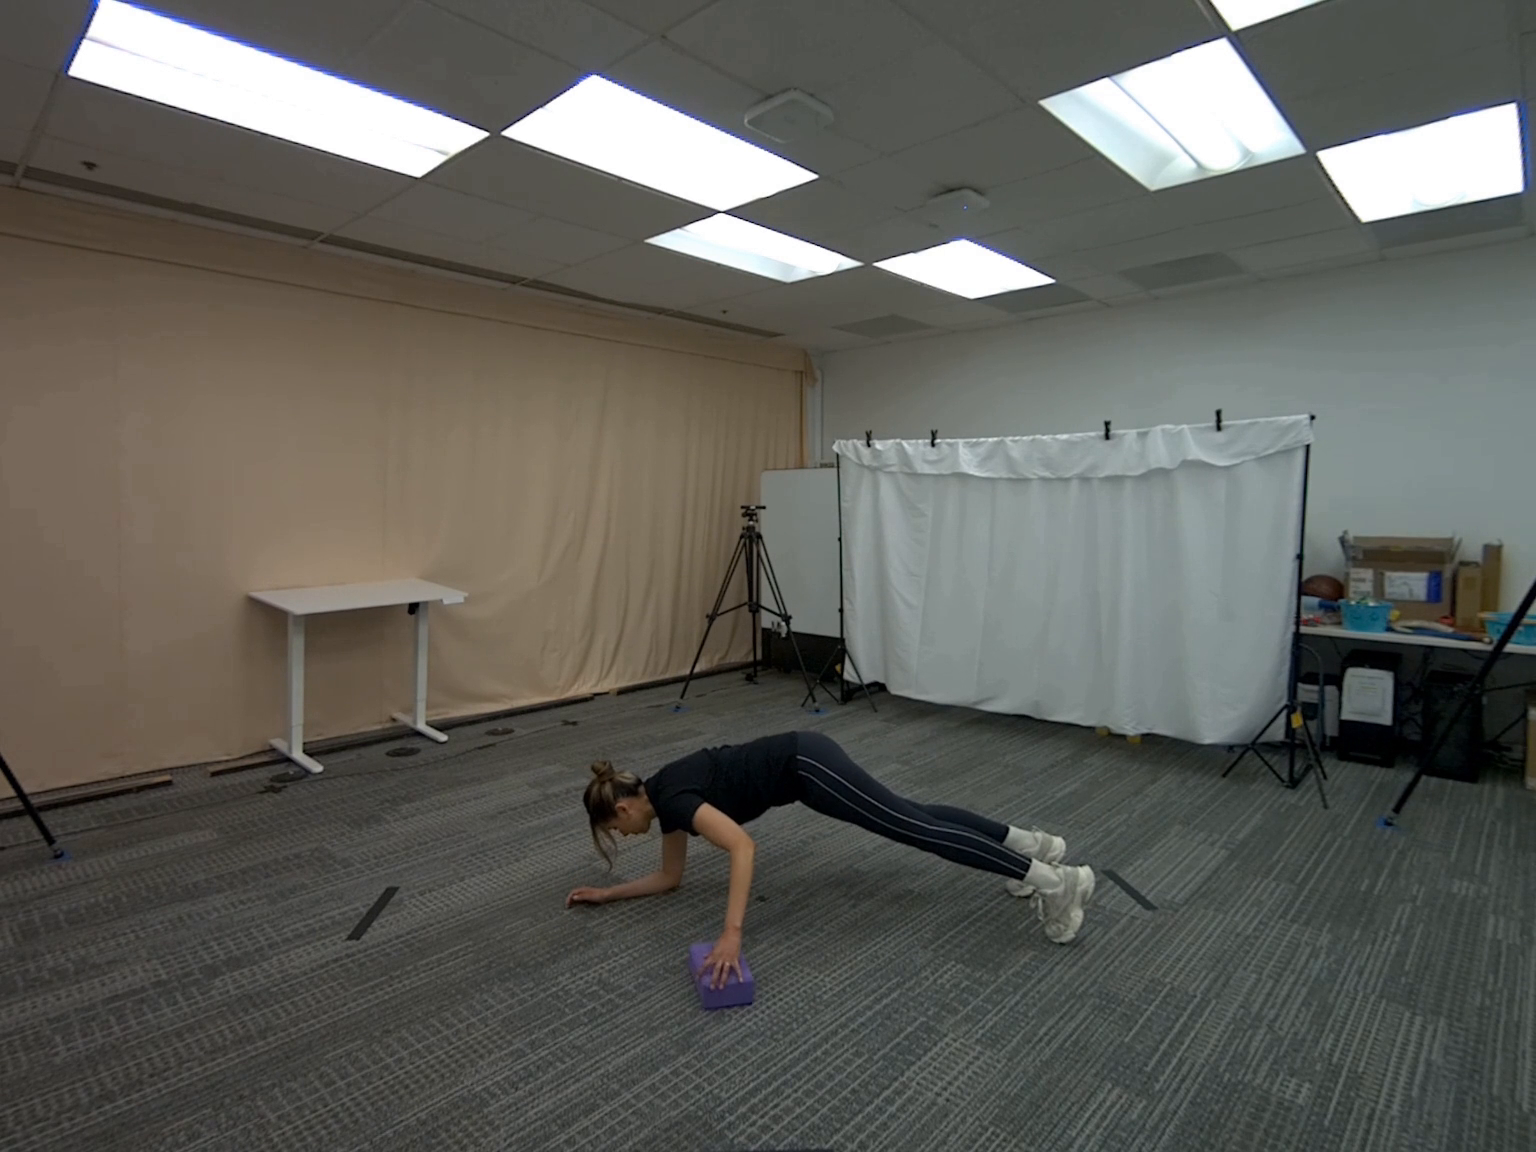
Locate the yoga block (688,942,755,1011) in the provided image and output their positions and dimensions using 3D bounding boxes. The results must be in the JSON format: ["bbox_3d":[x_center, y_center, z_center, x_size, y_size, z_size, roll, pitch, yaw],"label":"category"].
[{"bbox_3d":[-0.135,1.151,2.450,0.147,0.076,0.233,0,6,-13],"label":"yoga block"}]
